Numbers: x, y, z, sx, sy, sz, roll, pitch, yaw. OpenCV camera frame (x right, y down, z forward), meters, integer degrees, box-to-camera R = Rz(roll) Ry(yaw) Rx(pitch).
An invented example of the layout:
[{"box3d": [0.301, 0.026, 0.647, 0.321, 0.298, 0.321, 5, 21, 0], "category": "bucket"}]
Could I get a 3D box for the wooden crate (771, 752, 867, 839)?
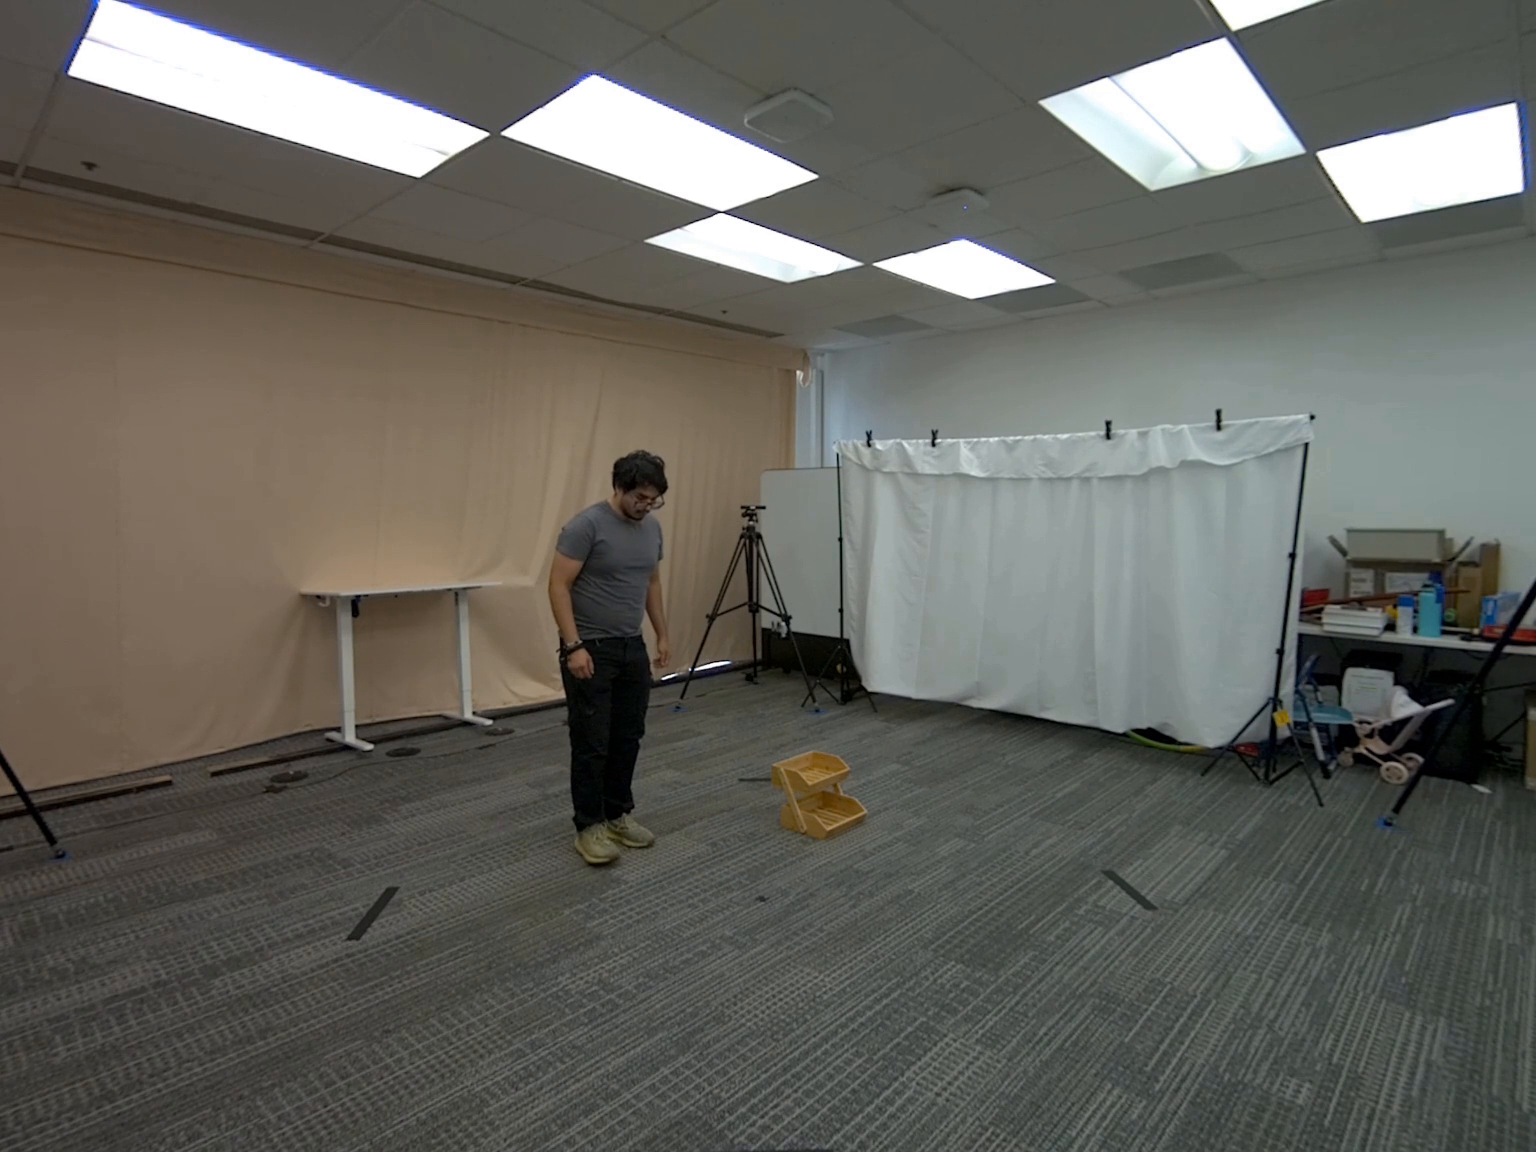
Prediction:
[{"box3d": [0.230, 0.952, 3.693, 0.312, 0.273, 0.314, 3, 5, 42], "category": "wooden crate"}]
